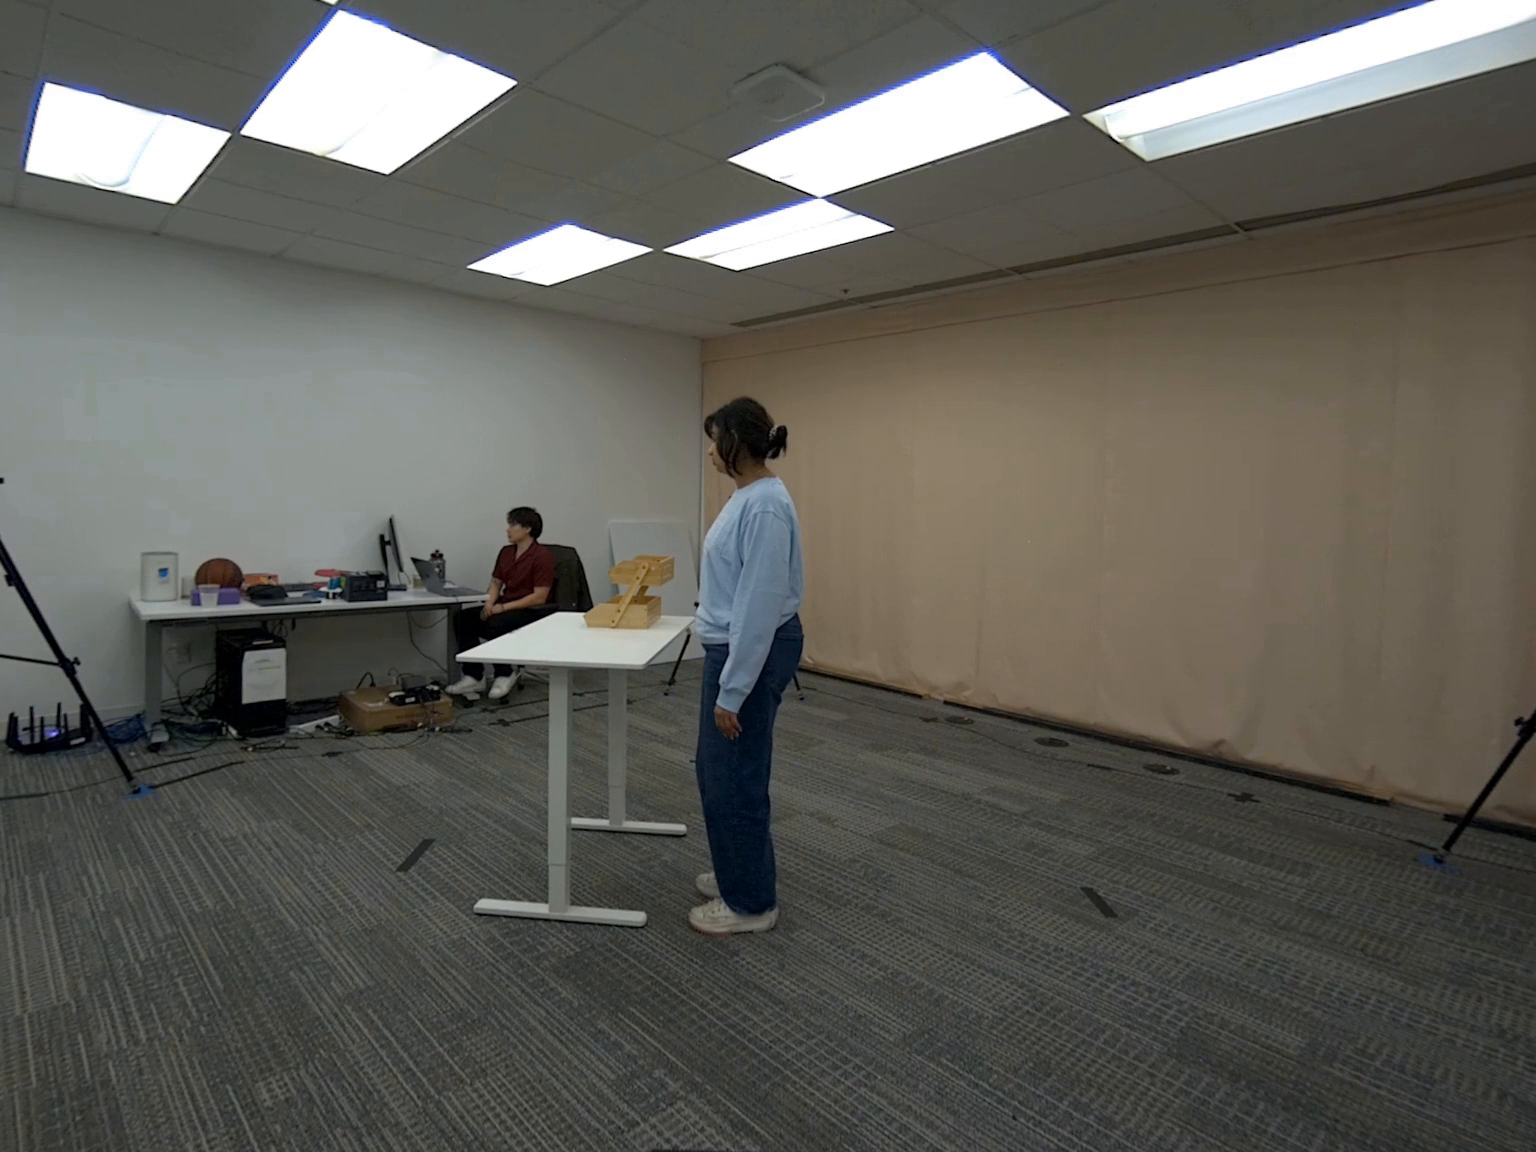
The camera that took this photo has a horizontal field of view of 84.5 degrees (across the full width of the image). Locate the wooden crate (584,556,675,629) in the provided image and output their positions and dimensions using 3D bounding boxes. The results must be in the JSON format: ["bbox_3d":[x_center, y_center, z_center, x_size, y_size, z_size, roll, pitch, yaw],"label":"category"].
[{"bbox_3d":[-0.563,0.054,3.355,0.303,0.272,0.324,2,5,3],"label":"wooden crate"}]
